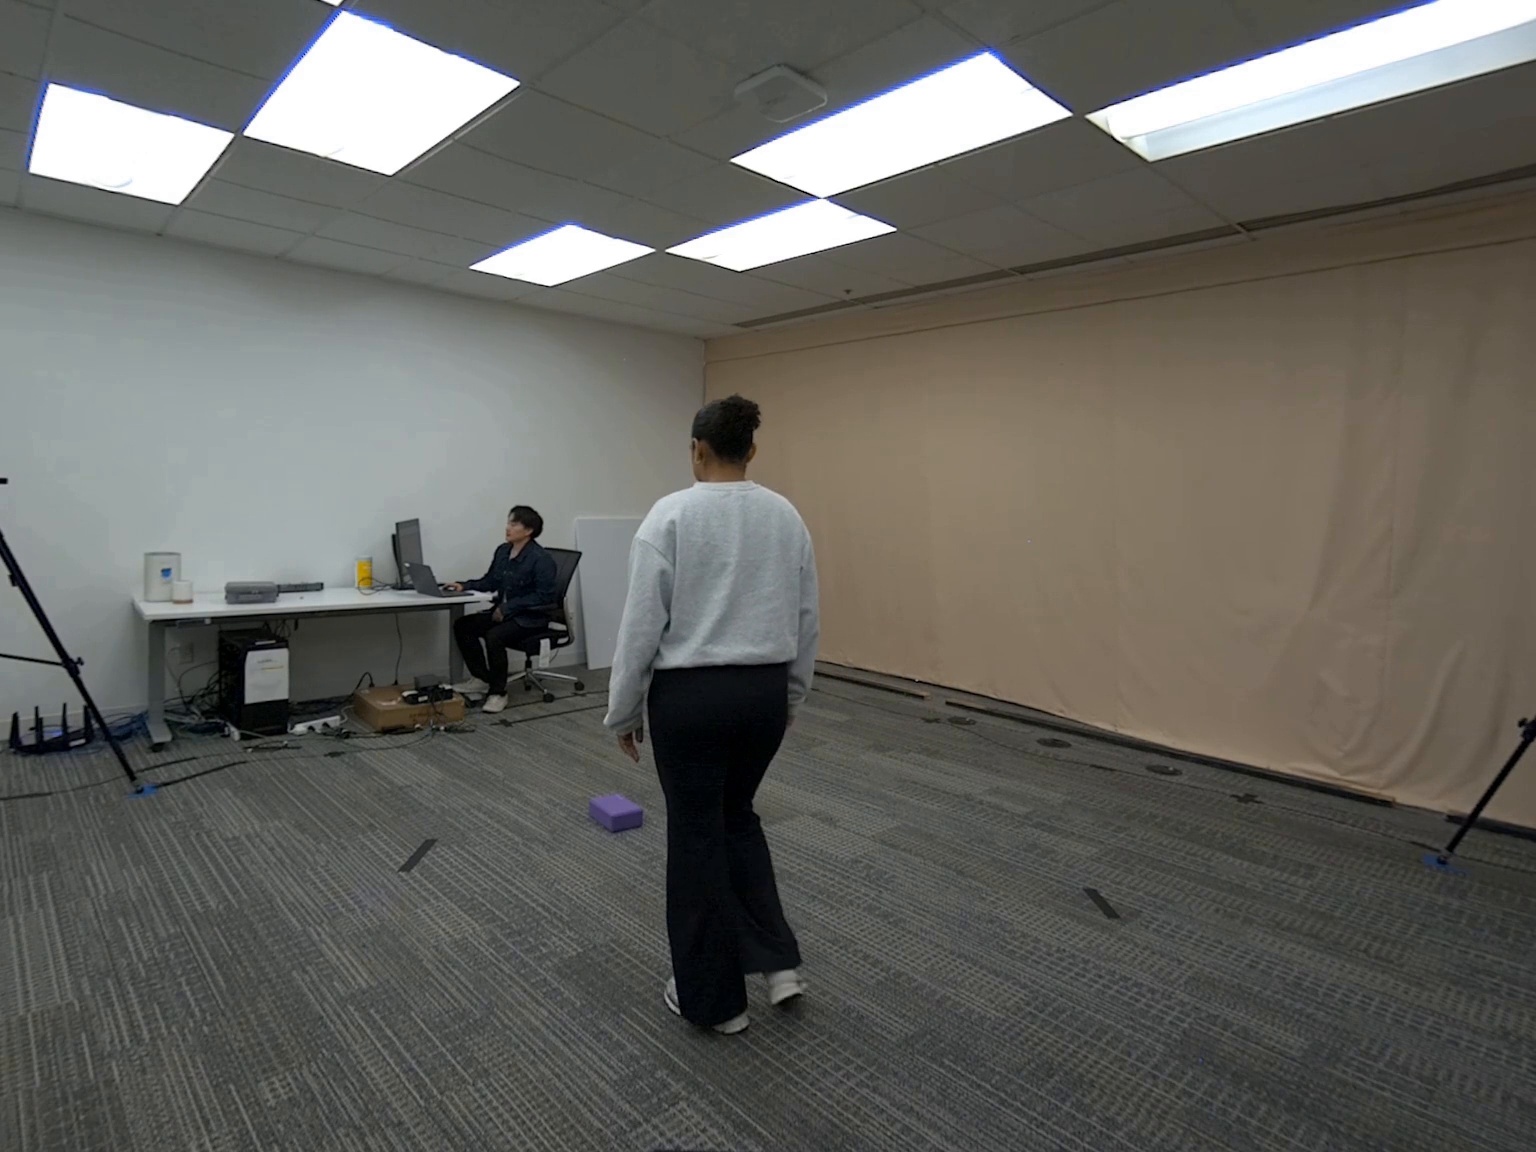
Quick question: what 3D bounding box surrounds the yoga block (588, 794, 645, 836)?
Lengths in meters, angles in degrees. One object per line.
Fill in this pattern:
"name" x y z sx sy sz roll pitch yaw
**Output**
"yoga block" -0.663 1.012 3.603 0.146 0.076 0.235 -1 6 -36
